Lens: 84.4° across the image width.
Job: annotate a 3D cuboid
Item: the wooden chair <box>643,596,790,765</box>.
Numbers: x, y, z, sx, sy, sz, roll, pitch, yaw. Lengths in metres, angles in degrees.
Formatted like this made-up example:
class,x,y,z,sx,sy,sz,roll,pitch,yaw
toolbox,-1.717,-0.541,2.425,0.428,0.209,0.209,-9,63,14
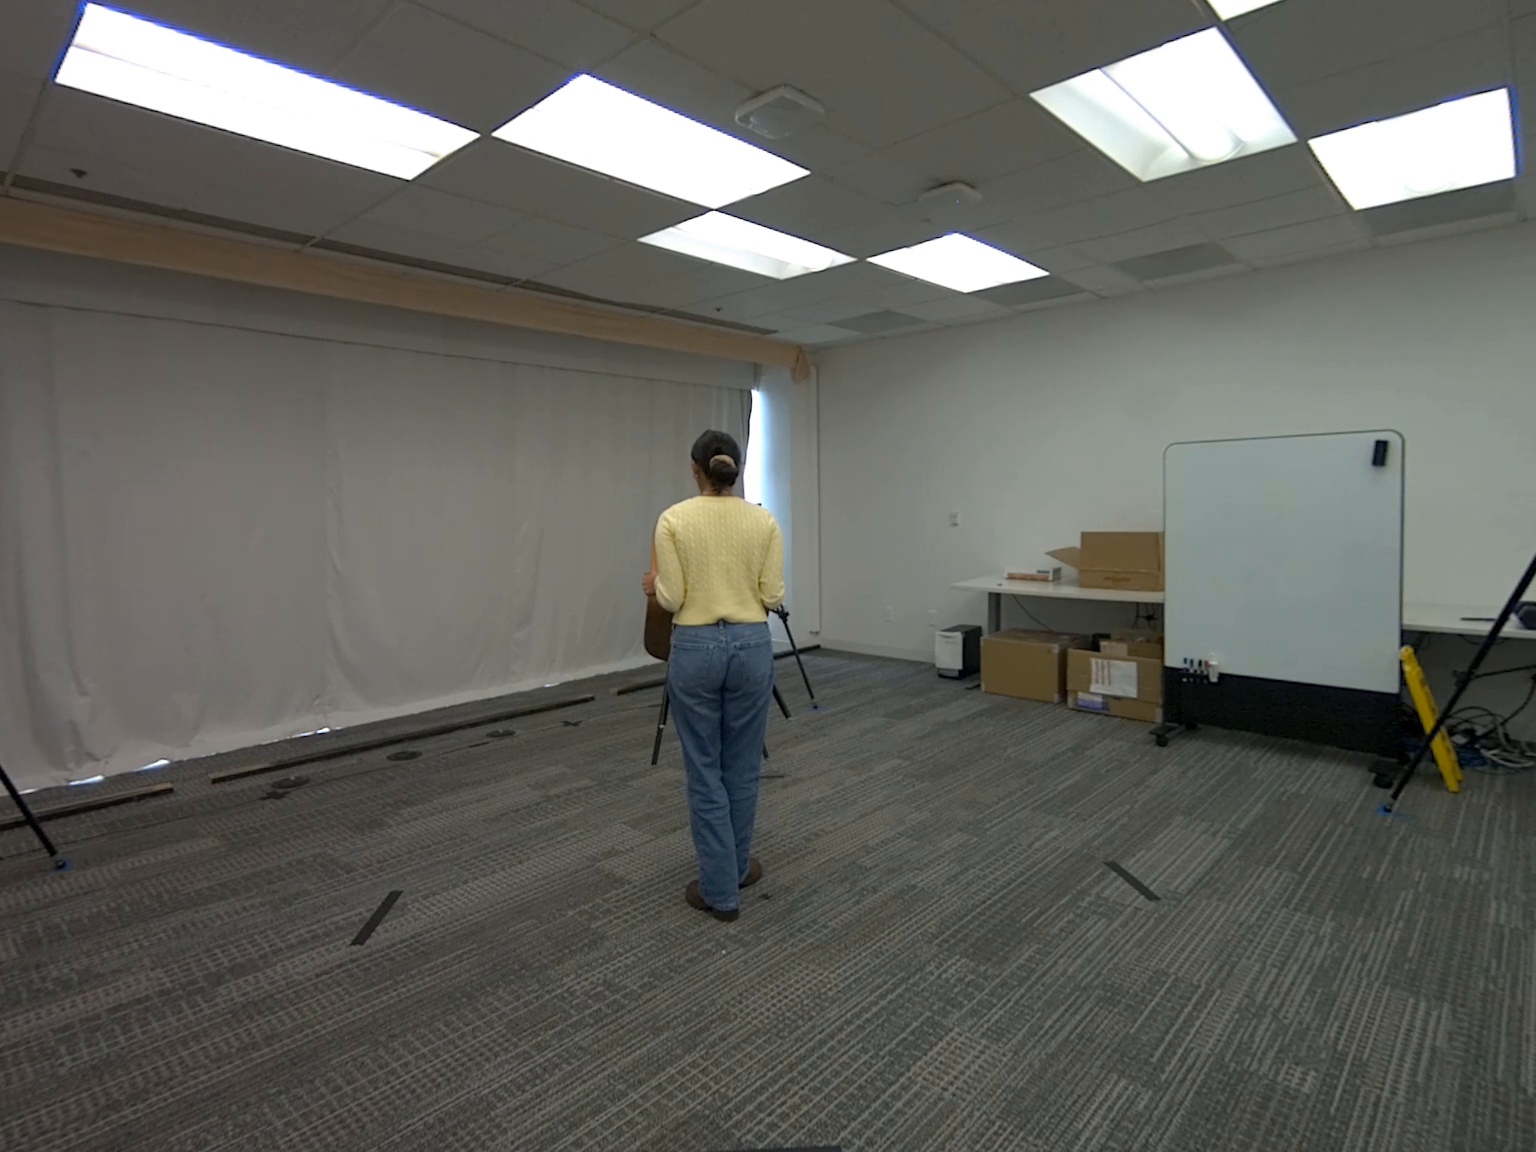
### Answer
class,x,y,z,sx,sy,sz,roll,pitch,yaw
wooden chair,-0.238,0.236,3.220,0.473,0.892,0.520,-1,-26,-11
